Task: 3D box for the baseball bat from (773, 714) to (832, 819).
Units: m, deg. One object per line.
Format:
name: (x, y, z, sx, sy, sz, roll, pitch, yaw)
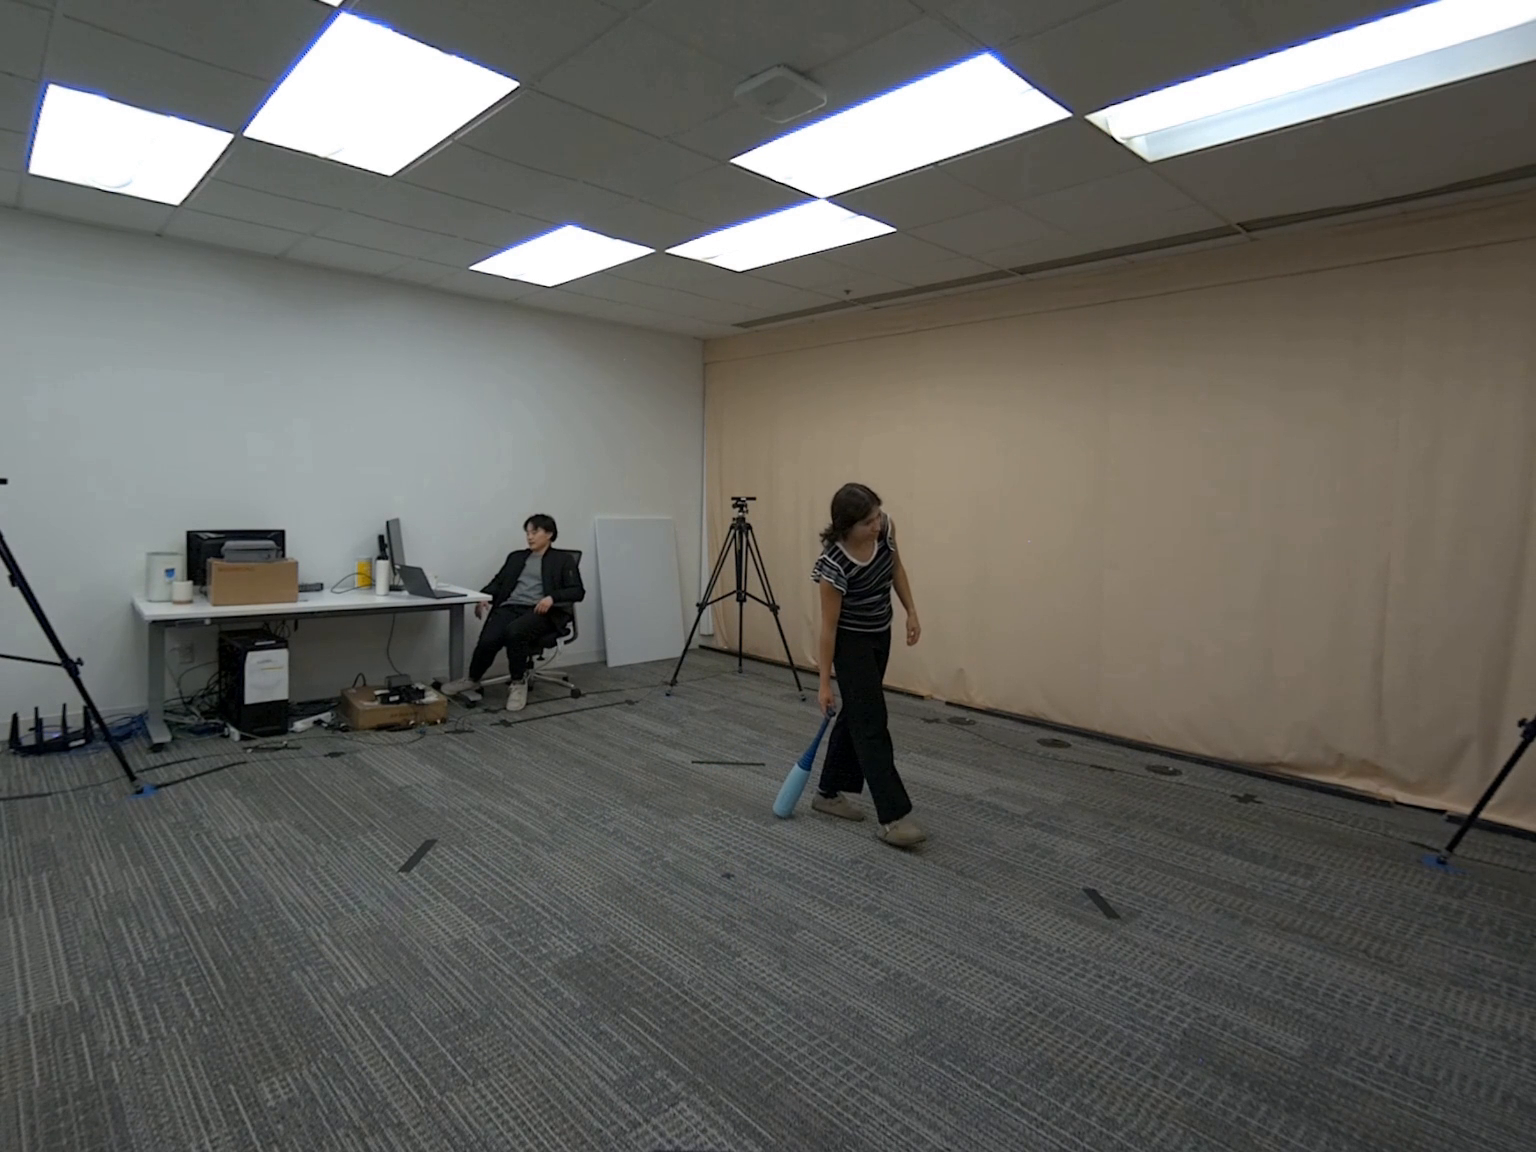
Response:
baseball bat: (0.163, 0.810, 3.650, 0.088, 0.540, 0.090, 25, 14, -8)
